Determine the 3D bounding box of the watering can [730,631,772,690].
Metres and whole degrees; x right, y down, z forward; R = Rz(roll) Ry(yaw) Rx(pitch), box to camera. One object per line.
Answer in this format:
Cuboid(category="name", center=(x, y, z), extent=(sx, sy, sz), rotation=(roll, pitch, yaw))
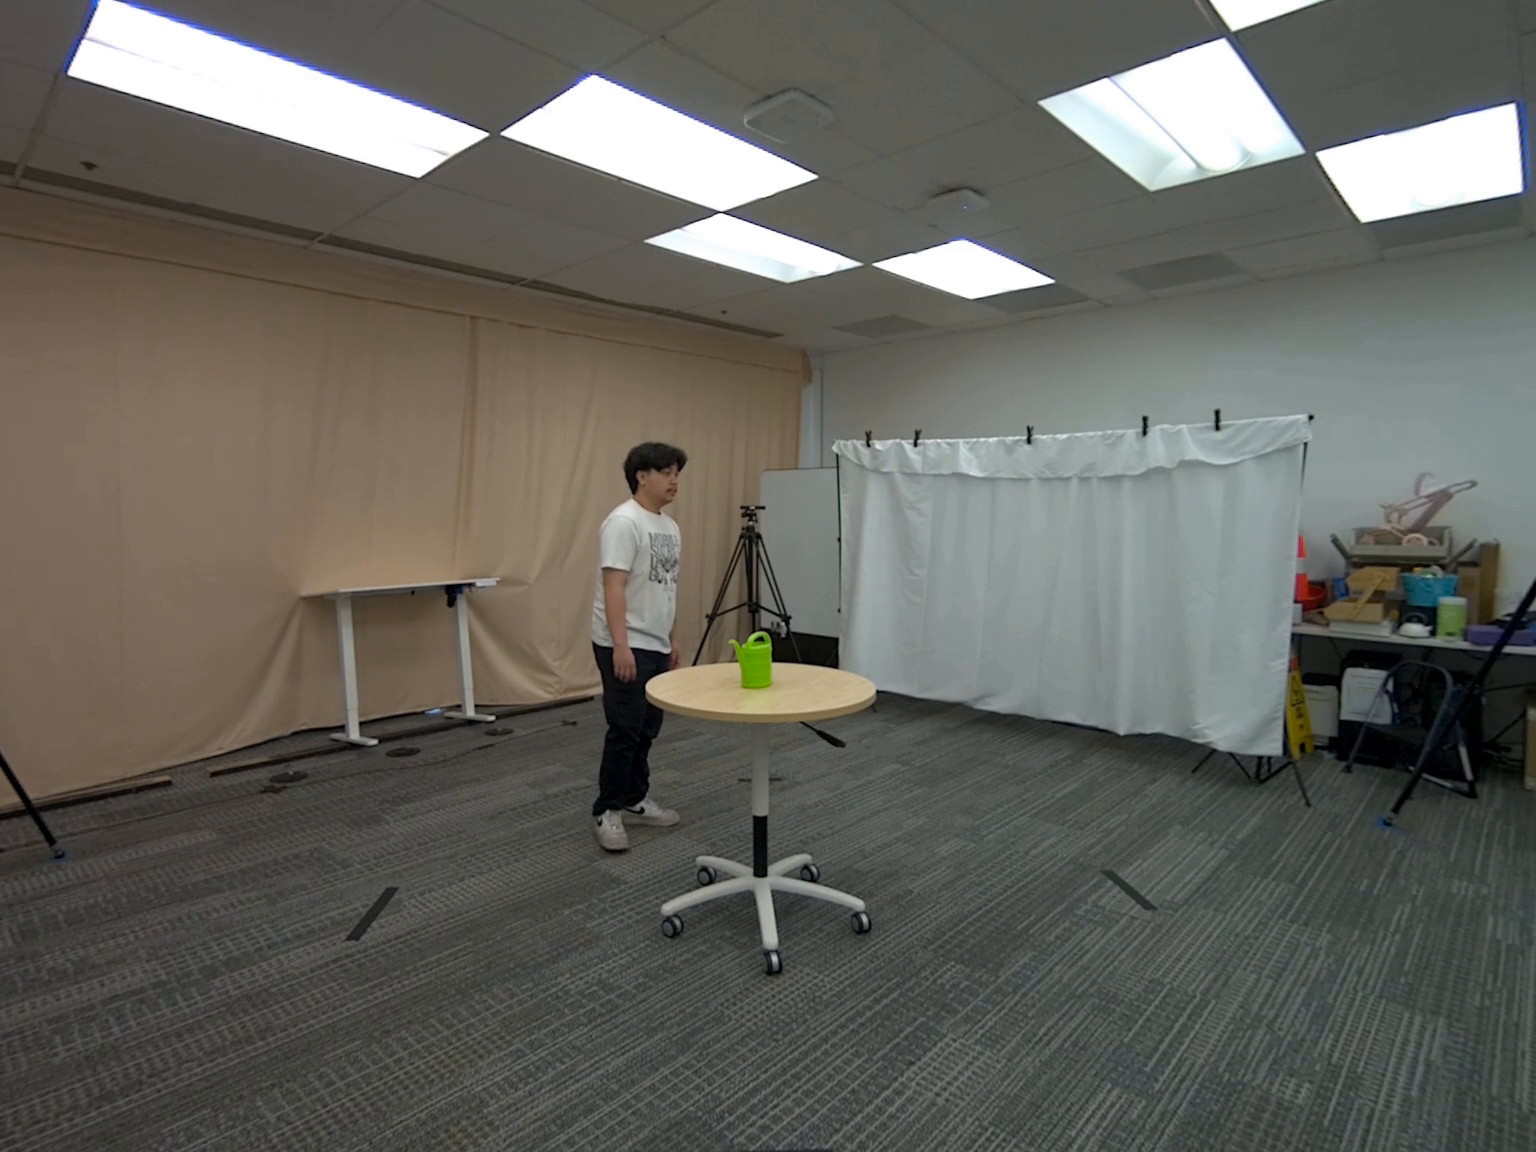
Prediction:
Cuboid(category="watering can", center=(-0.059, 0.281, 2.777), extent=(0.101, 0.176, 0.270), rotation=(3, 5, 42))
